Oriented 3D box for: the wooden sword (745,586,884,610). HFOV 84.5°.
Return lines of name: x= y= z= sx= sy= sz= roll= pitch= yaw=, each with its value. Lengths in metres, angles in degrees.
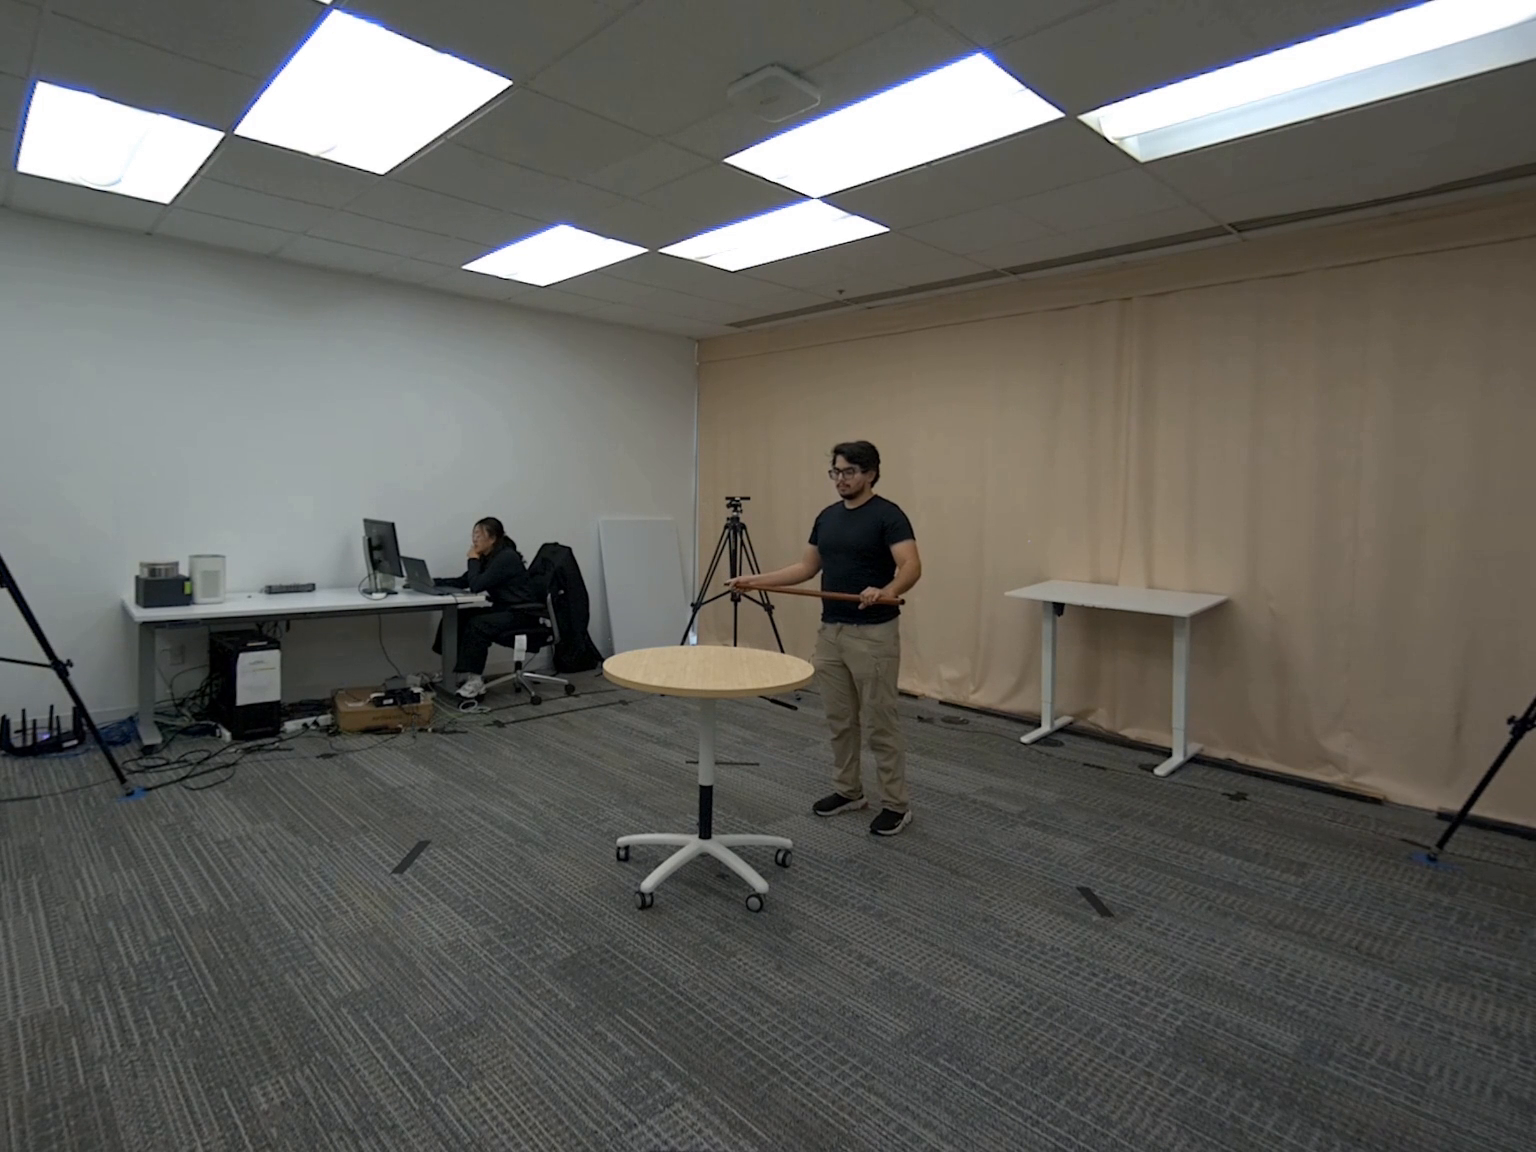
wooden sword: x=0.078 y=0.061 z=3.503 sx=0.023 sy=0.051 sz=1.048 roll=26 pitch=-12 yaw=-33
